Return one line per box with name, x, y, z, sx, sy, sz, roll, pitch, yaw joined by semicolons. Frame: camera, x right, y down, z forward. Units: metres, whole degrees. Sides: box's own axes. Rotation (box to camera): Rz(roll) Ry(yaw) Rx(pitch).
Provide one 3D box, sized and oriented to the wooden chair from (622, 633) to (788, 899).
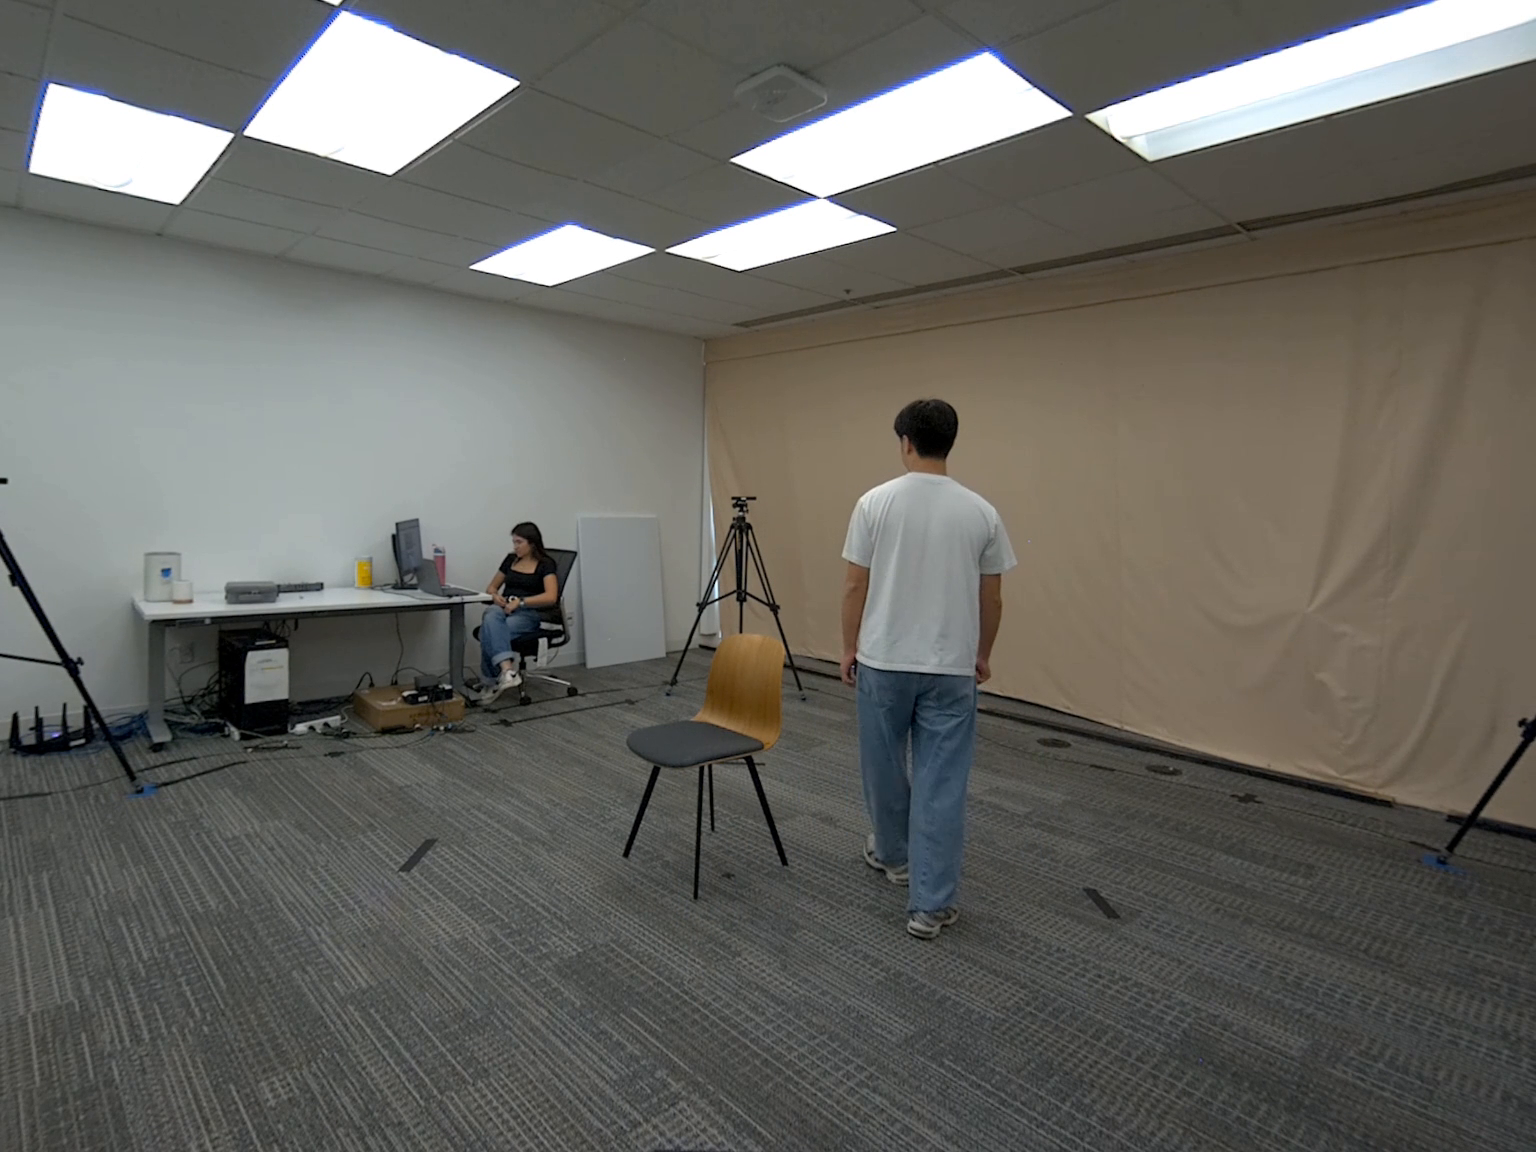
wooden chair;-0.243;0.672;3.192;0.510;0.877;0.490;4;1;-42
